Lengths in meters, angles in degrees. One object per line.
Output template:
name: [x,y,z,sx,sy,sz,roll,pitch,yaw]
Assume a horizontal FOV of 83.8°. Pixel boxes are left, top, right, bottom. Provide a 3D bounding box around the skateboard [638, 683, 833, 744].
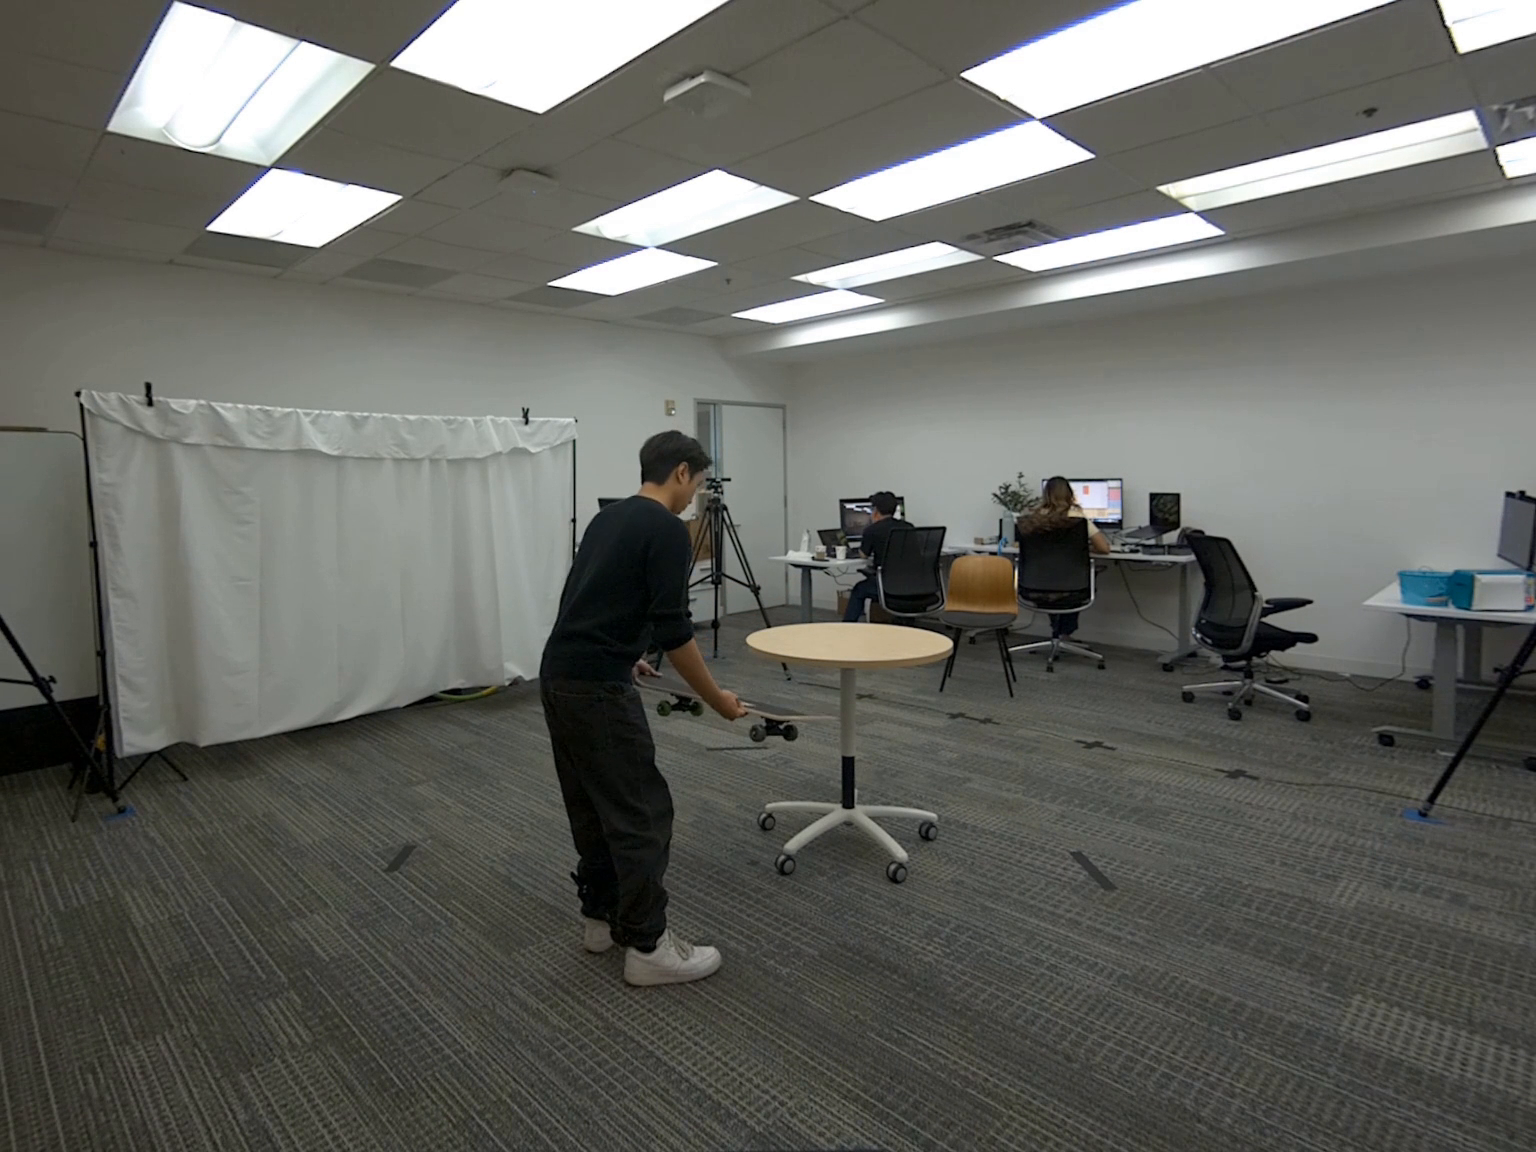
skateboard: [-0.120,0.427,2.663,0.810,0.111,0.187,6,-6,41]
